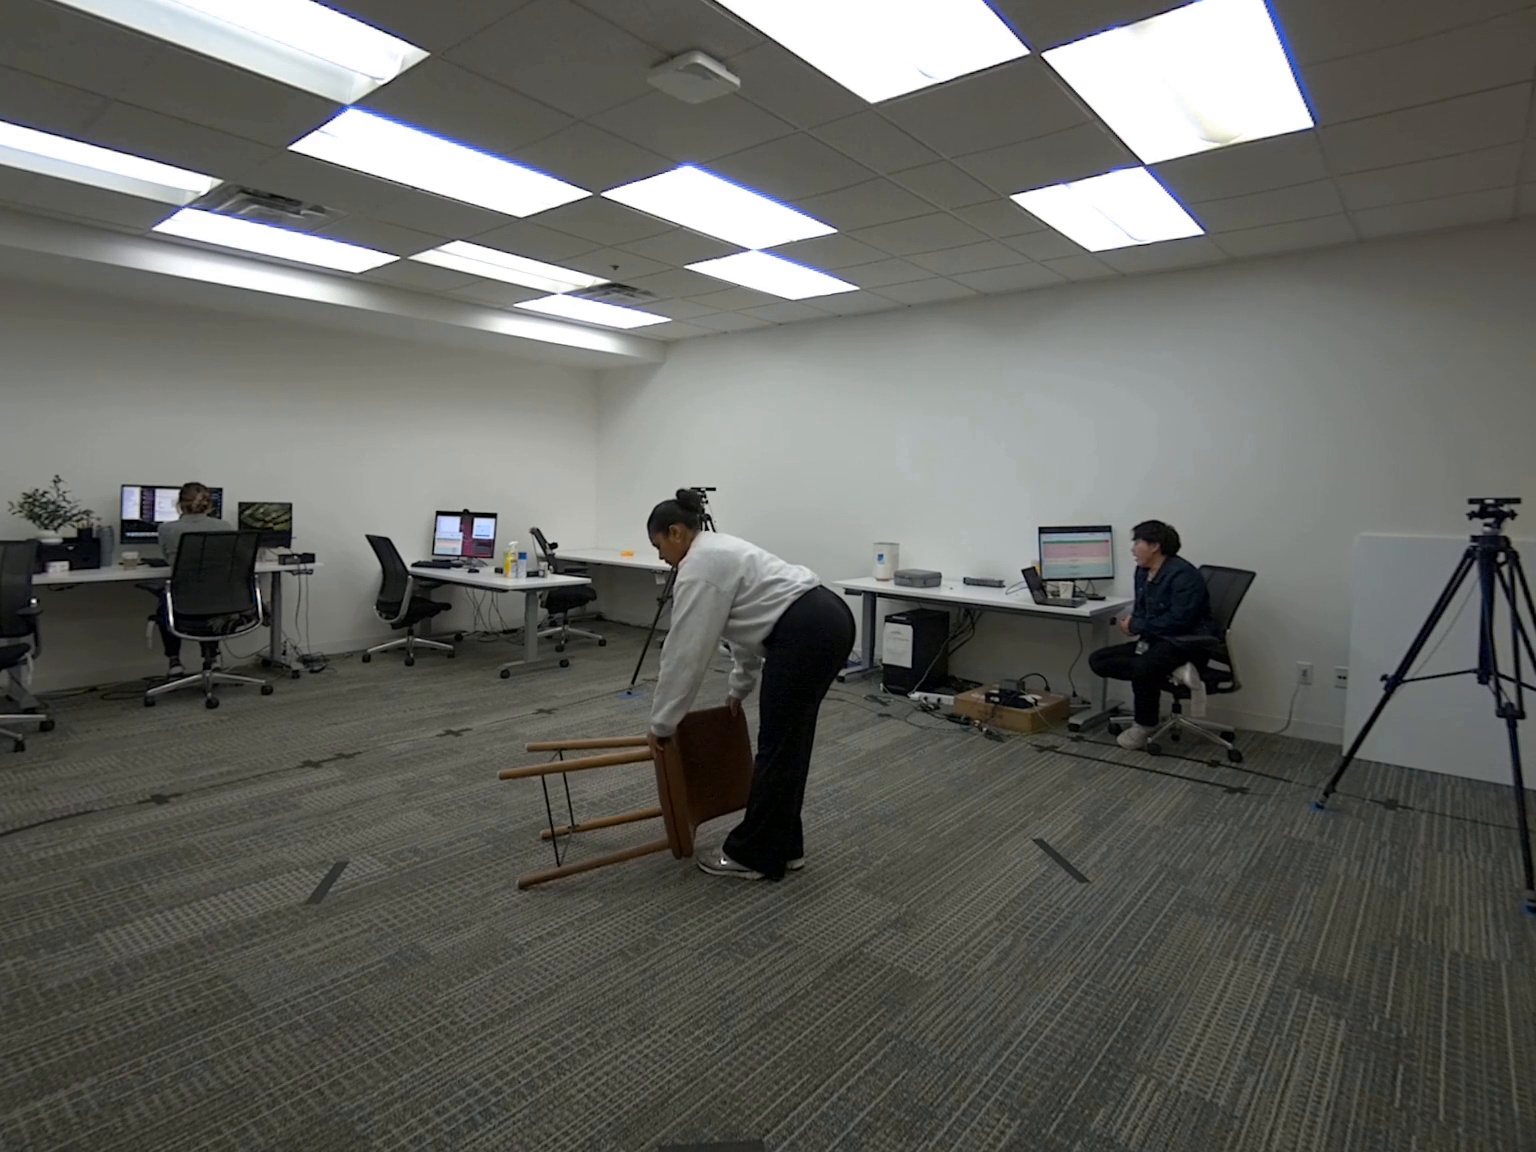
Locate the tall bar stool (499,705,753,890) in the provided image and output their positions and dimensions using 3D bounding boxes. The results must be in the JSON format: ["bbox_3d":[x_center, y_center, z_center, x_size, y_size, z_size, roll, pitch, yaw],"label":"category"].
[{"bbox_3d":[-0.493,0.781,3.151,0.888,0.456,0.469,-9,1,-3],"label":"tall bar stool"}]
